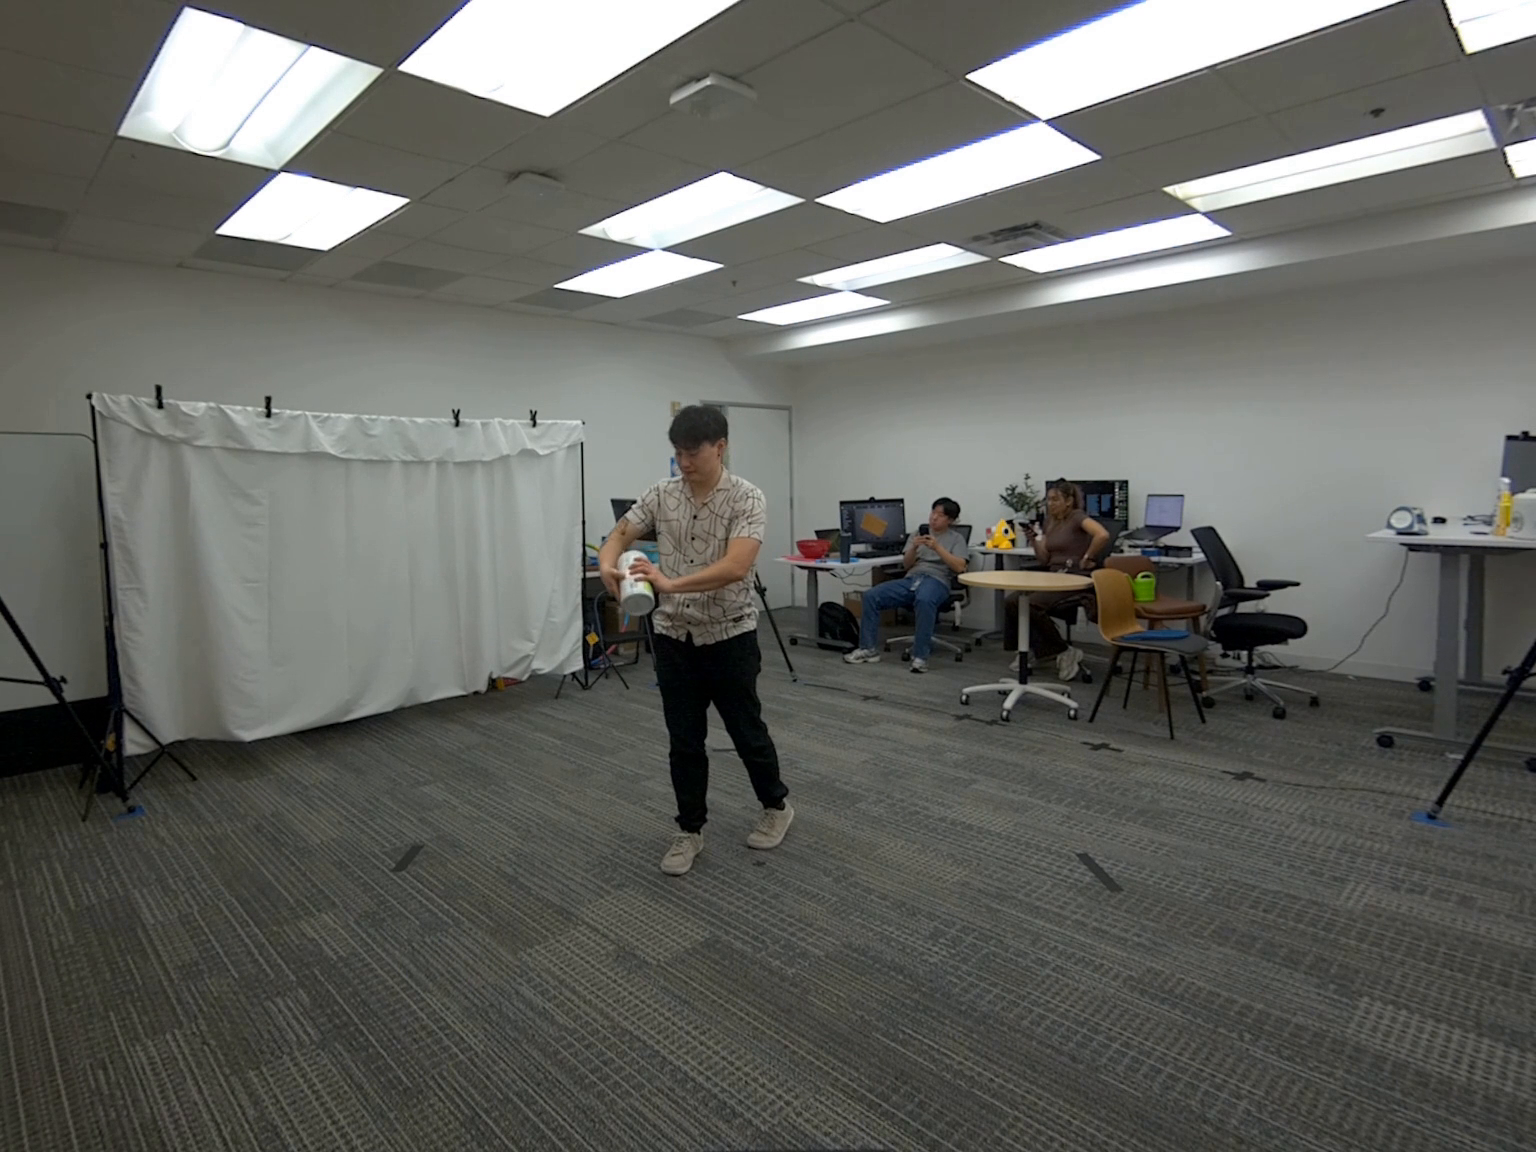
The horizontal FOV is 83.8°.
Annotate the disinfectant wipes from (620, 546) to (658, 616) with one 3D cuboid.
[{"bbox_3d":[-0.429,0.012,2.842,0.117,0.115,0.224,-2,37,-10],"label":"disinfectant wipes"}]
